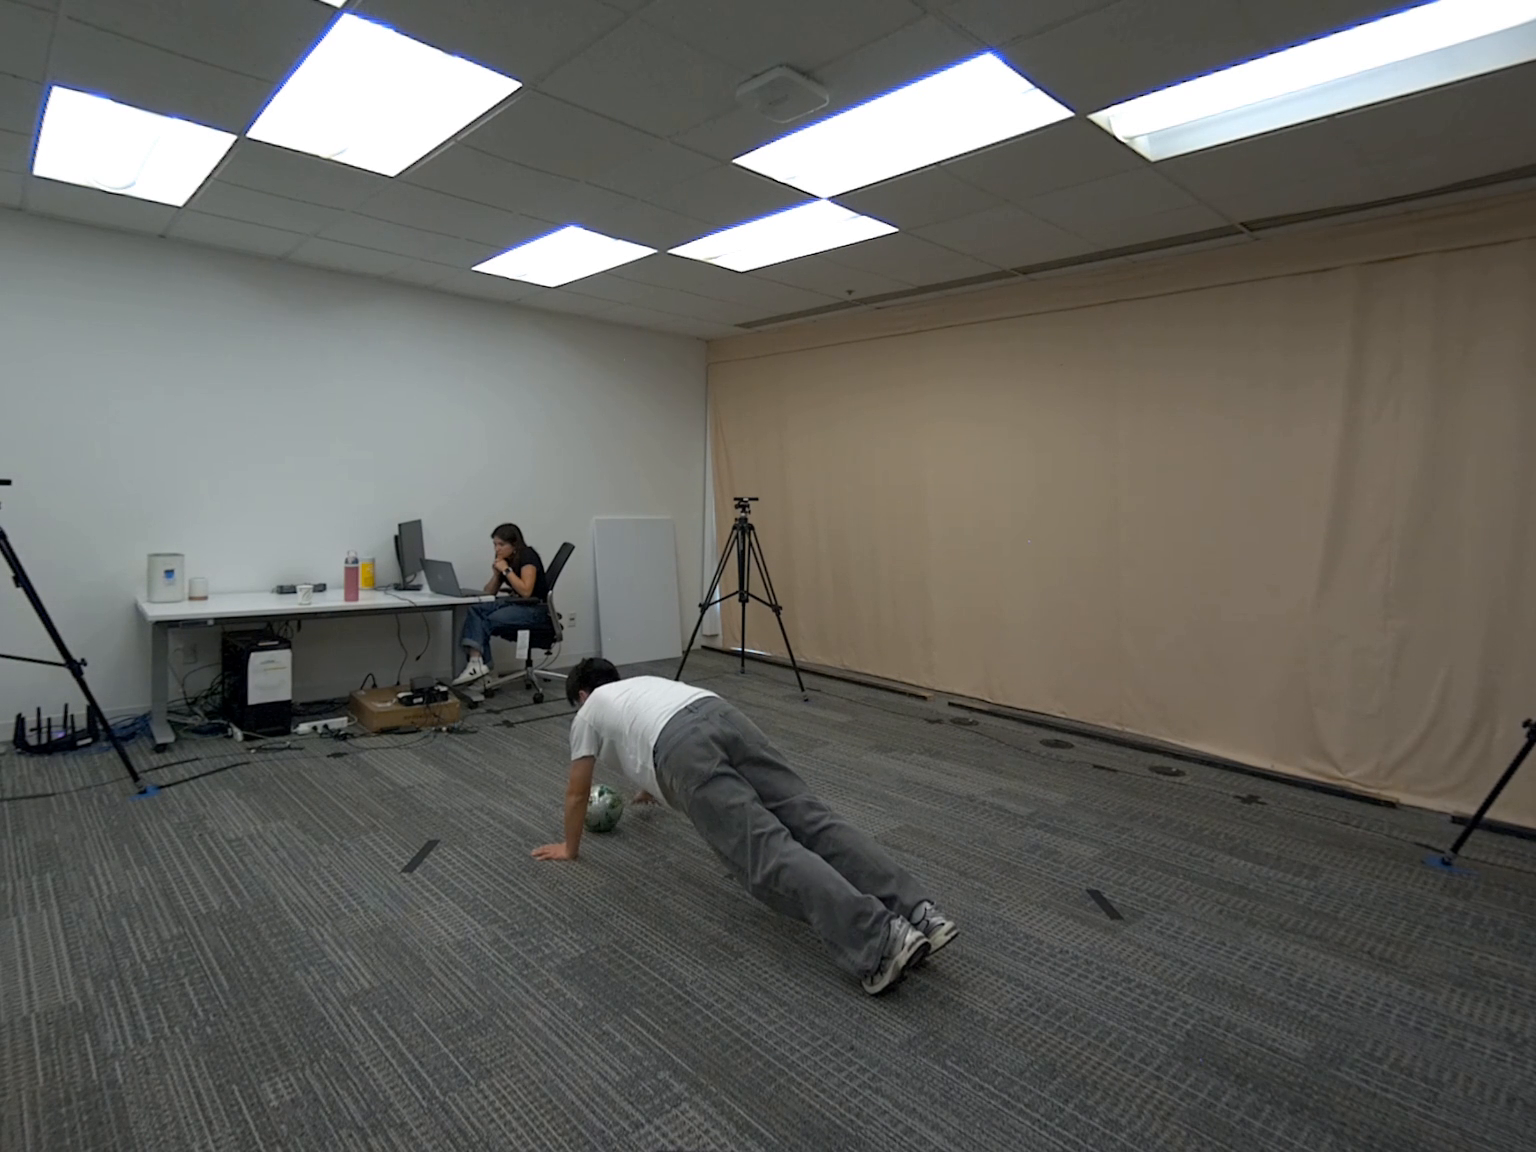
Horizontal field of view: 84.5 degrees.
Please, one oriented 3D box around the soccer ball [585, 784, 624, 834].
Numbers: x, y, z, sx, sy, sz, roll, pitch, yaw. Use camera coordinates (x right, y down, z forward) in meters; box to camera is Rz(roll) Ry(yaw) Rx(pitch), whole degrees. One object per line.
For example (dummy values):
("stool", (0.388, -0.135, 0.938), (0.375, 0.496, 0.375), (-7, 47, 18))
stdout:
("soccer ball", (-0.701, 0.971, 3.511), (0.187, 0.187, 0.188), (1, 4, -1))
